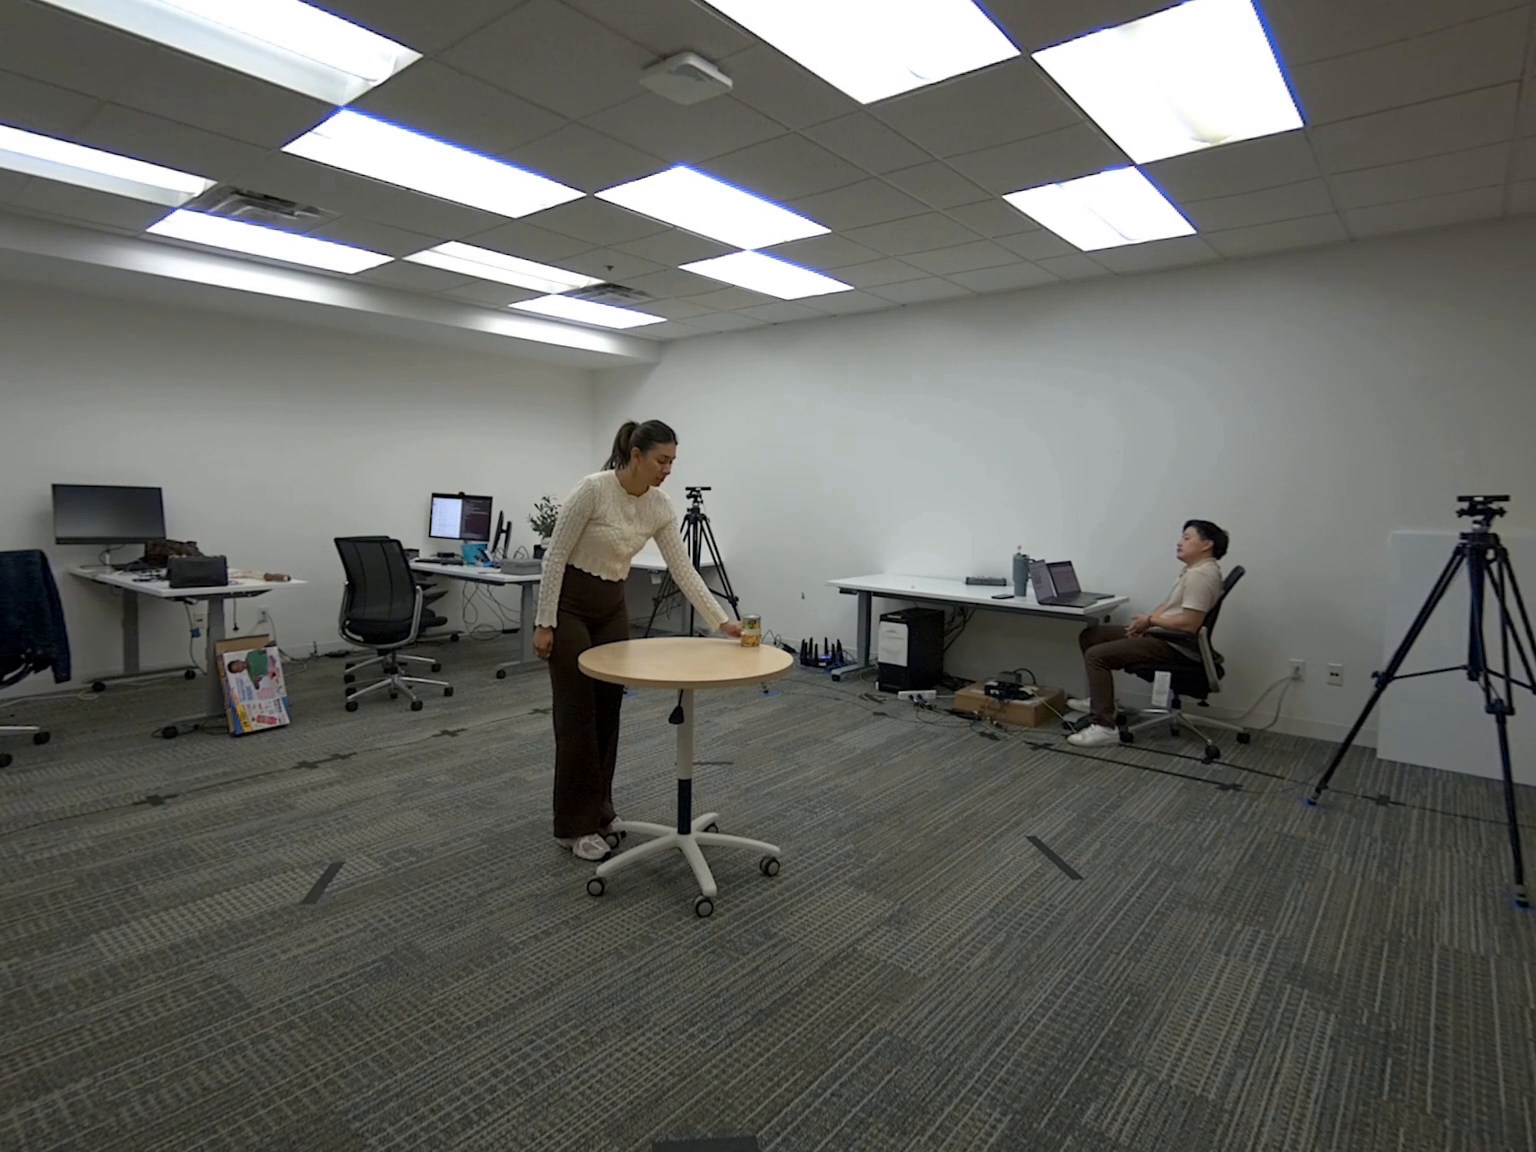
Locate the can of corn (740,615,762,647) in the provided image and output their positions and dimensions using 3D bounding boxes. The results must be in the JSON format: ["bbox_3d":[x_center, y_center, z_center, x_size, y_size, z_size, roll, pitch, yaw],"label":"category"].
[{"bbox_3d":[-0.074,0.202,3.271,0.074,0.111,0.074,-1,3,-2],"label":"can of corn"}]
